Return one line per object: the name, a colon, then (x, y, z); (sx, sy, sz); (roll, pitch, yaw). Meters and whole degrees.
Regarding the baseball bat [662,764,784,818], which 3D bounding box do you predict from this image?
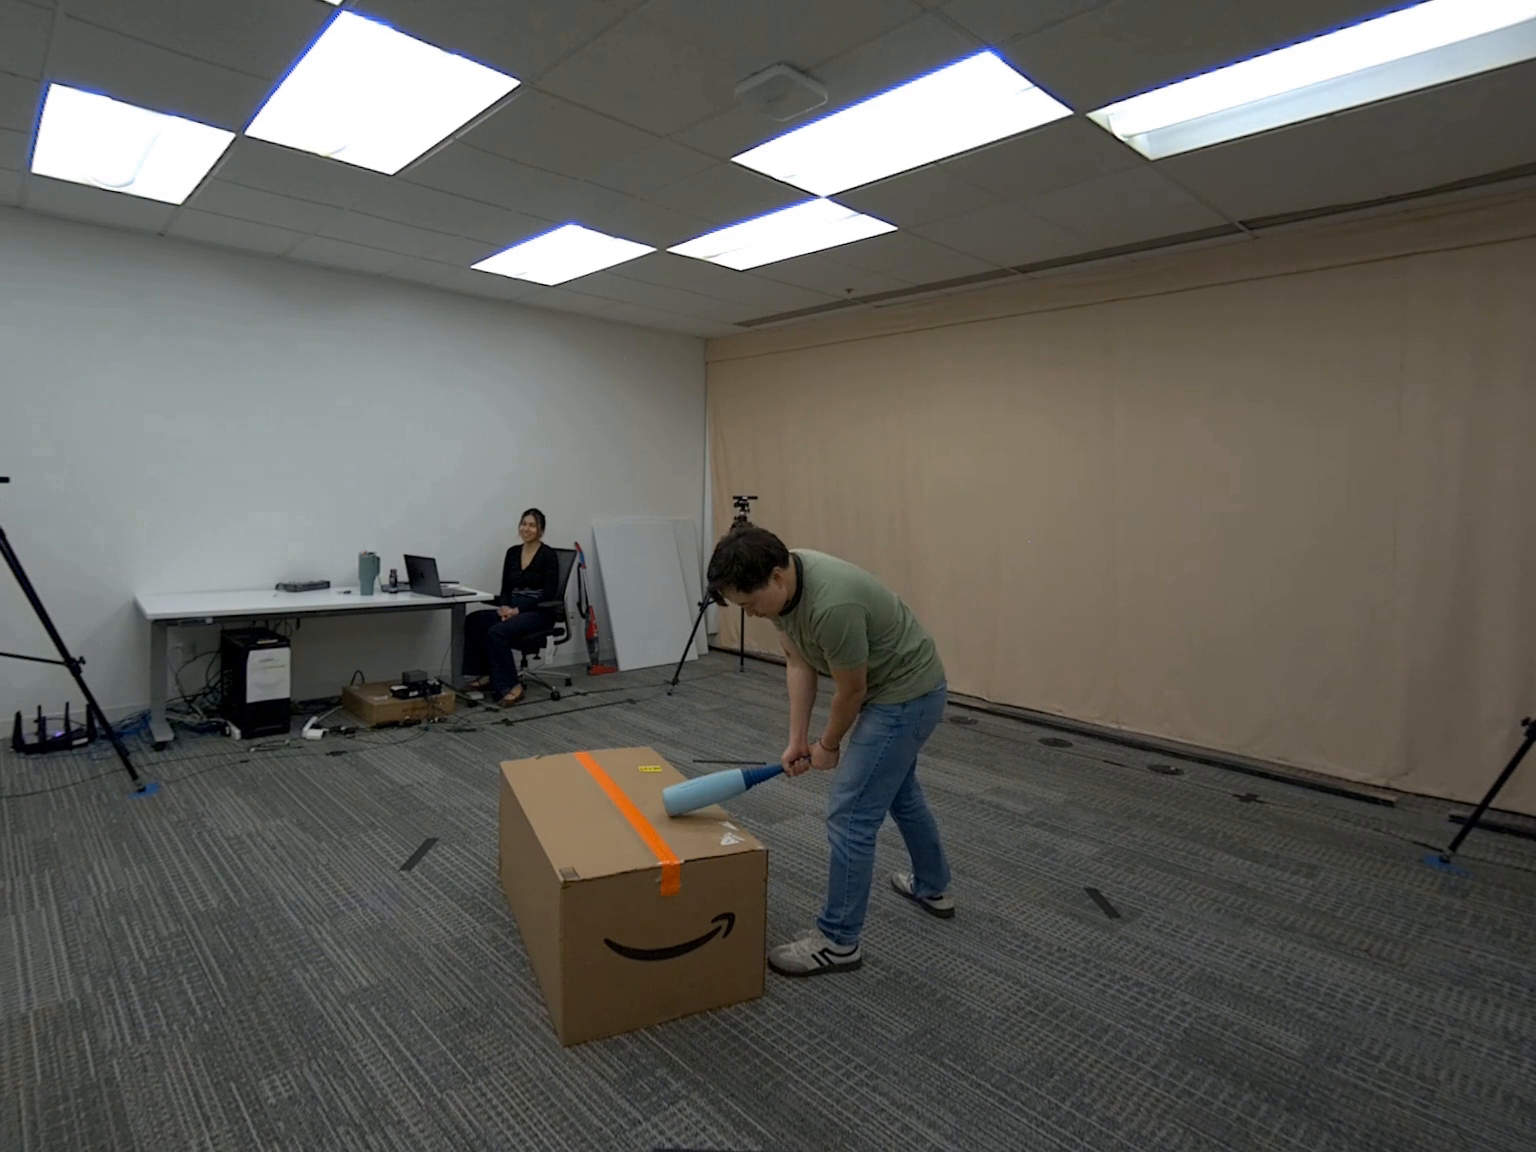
baseball bat: (-0.068, 0.599, 2.550); (0.542, 0.089, 0.089); (-13, 5, -2)
